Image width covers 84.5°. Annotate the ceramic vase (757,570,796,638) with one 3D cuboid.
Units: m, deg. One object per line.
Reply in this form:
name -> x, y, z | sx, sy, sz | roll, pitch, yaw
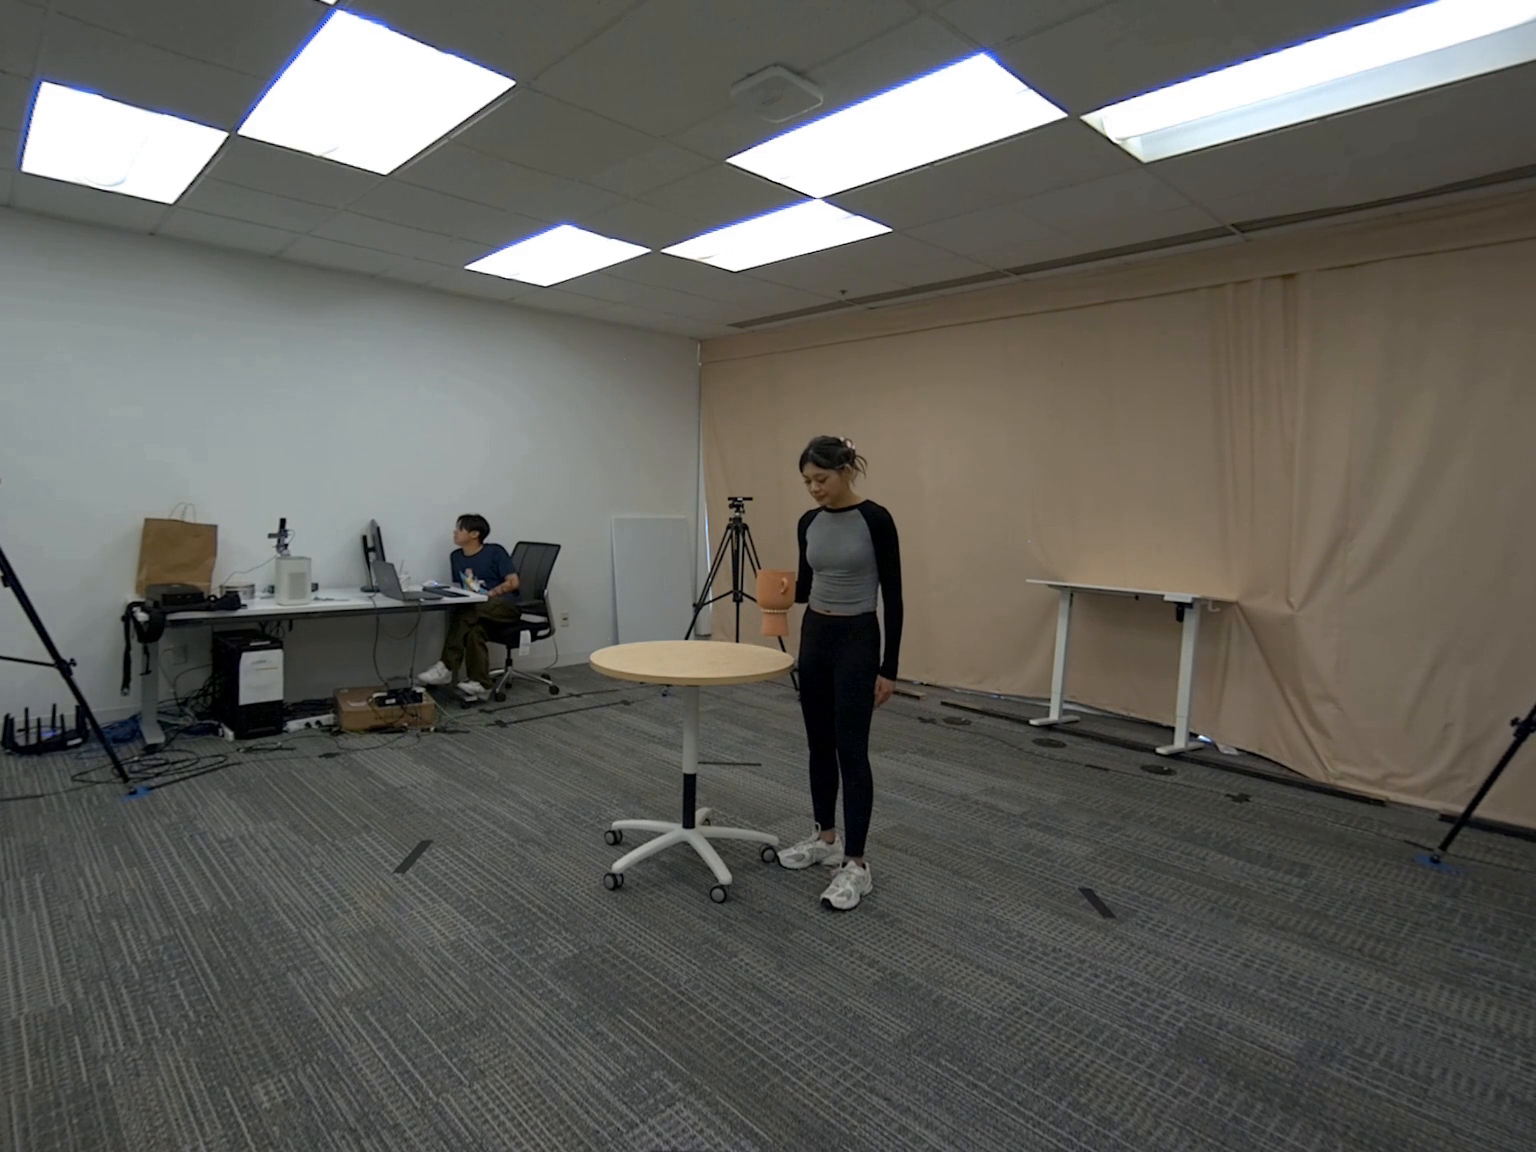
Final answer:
ceramic vase -> 0.025, 0.092, 2.870 | 0.137, 0.220, 0.156 | 1, 0, 20
